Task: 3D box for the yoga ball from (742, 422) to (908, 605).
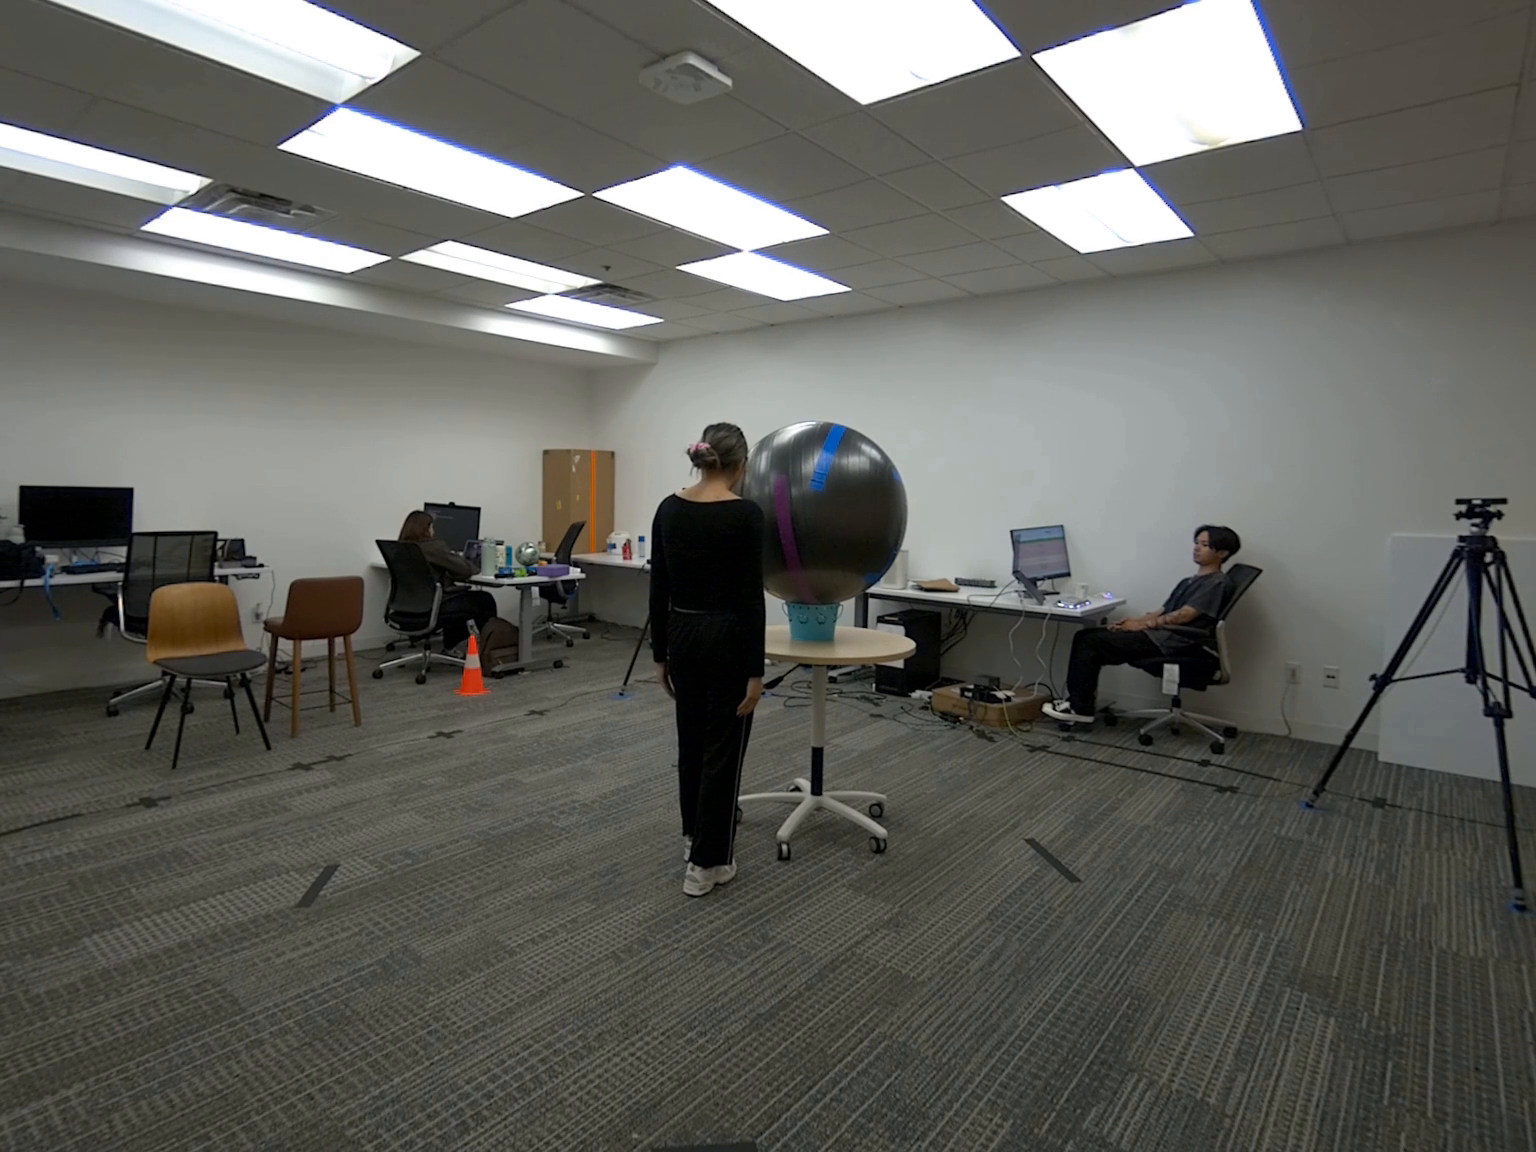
[{"bbox_3d":[0.188,-0.256,3.514,0.757,0.756,0.762,1,4,-2],"label":"yoga ball"}]
